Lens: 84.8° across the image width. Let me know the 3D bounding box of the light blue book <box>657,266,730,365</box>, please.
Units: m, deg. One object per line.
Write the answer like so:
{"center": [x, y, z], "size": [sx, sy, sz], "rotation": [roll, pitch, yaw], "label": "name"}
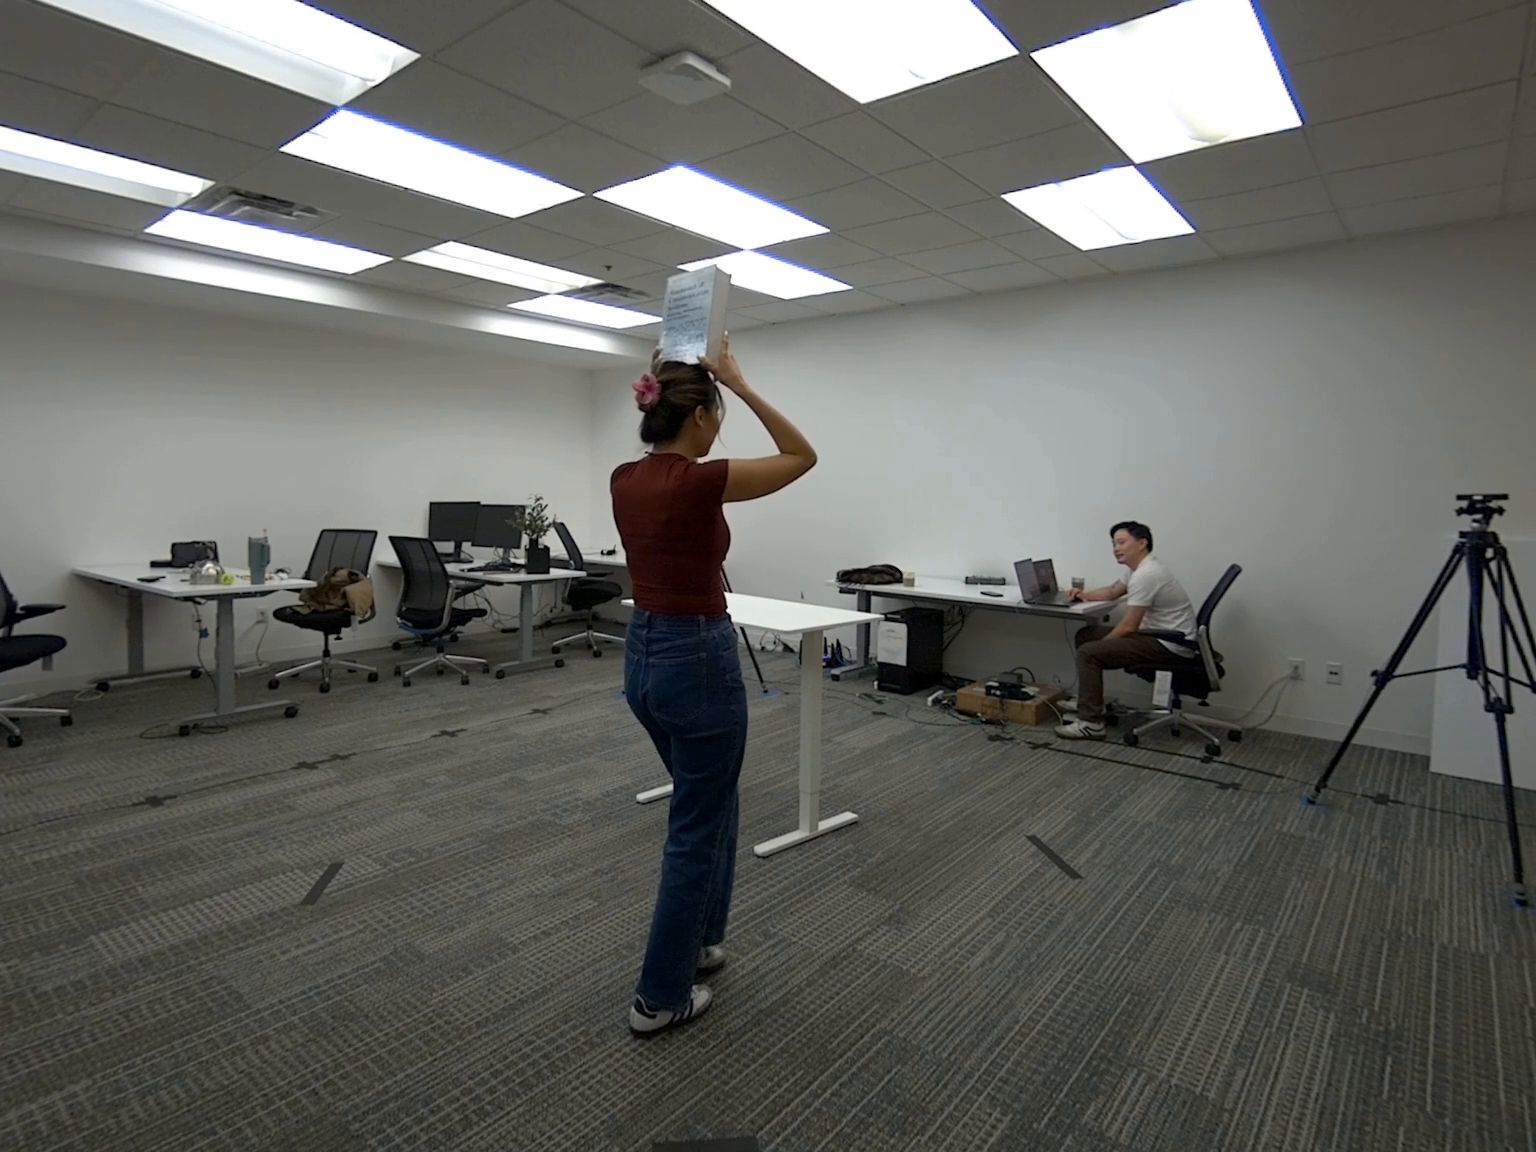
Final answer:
{"center": [-0.203, -0.659, 2.210], "size": [0.197, 0.263, 0.057], "rotation": [1, -10, 40], "label": "light blue book"}
